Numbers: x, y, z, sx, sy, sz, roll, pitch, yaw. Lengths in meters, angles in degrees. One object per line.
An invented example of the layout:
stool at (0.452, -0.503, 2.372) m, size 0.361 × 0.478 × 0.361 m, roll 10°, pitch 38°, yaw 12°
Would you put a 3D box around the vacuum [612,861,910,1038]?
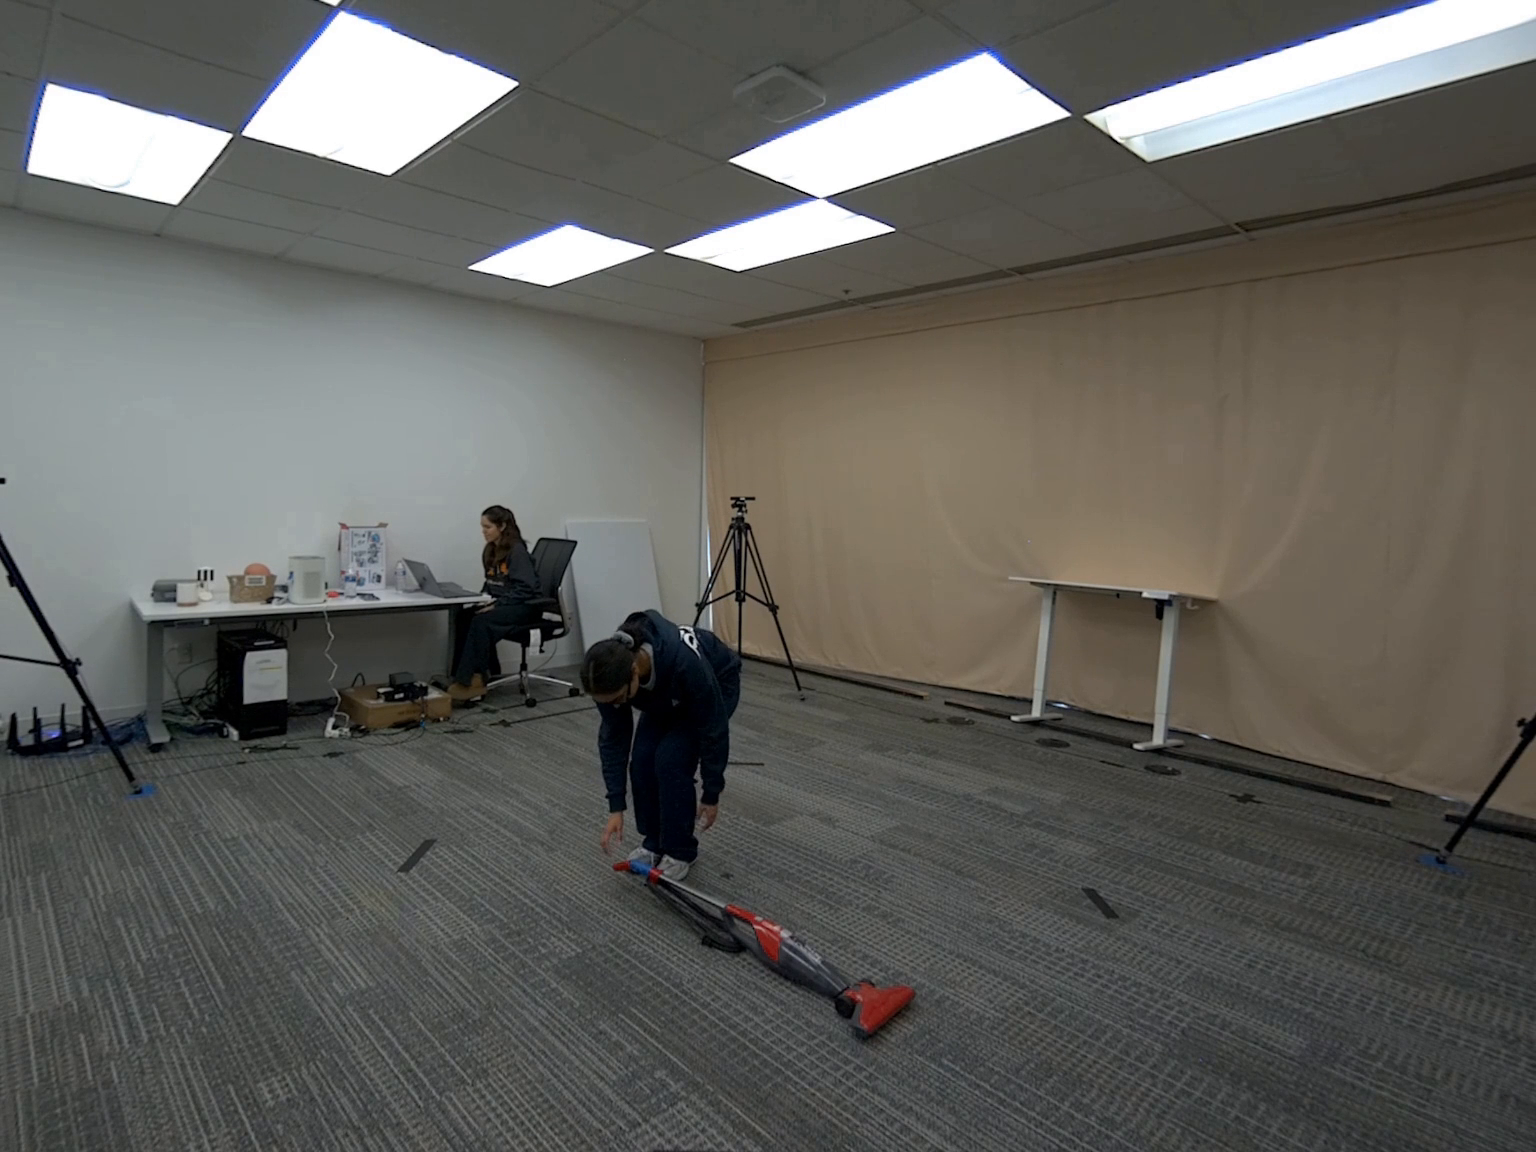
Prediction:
vacuum at (-0.118, 1.099, 2.623) m, size 1.077 × 0.143 × 0.247 m, roll 8°, pitch 11°, yaw 39°
